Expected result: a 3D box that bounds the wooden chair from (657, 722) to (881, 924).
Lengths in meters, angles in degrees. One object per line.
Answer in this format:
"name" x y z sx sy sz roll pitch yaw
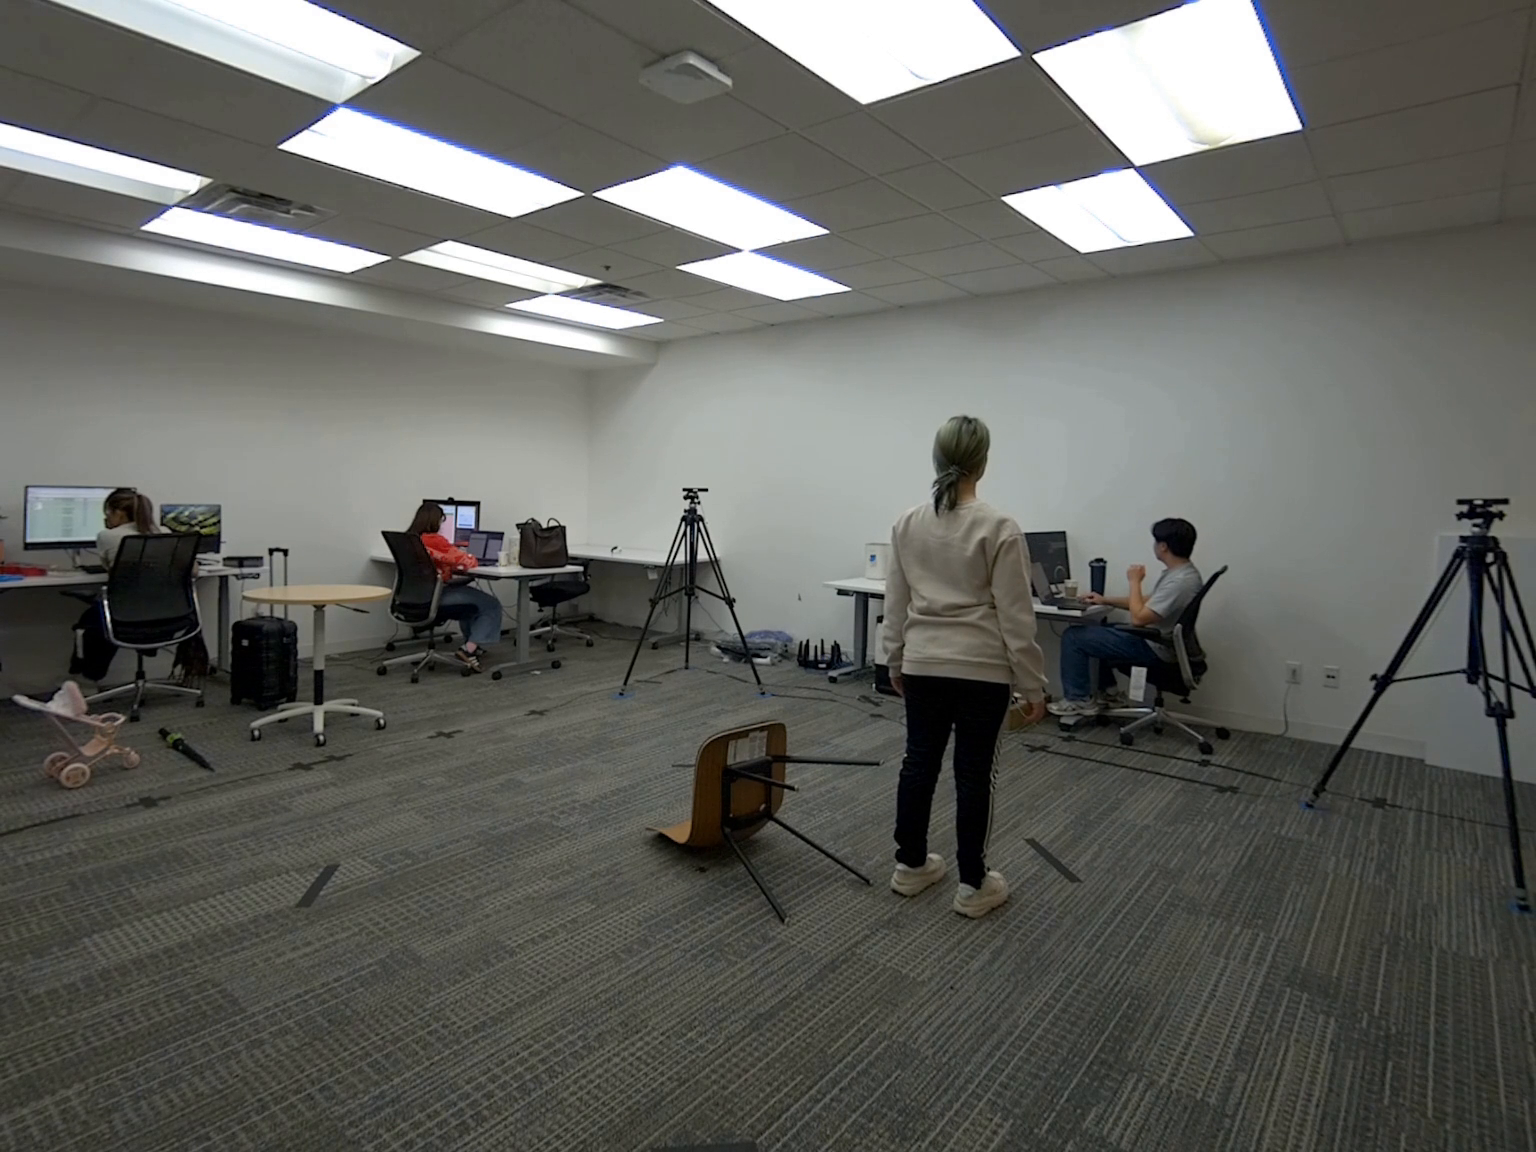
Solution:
"wooden chair" -0.080 0.810 3.164 0.463 0.522 0.907 -2 5 -43
